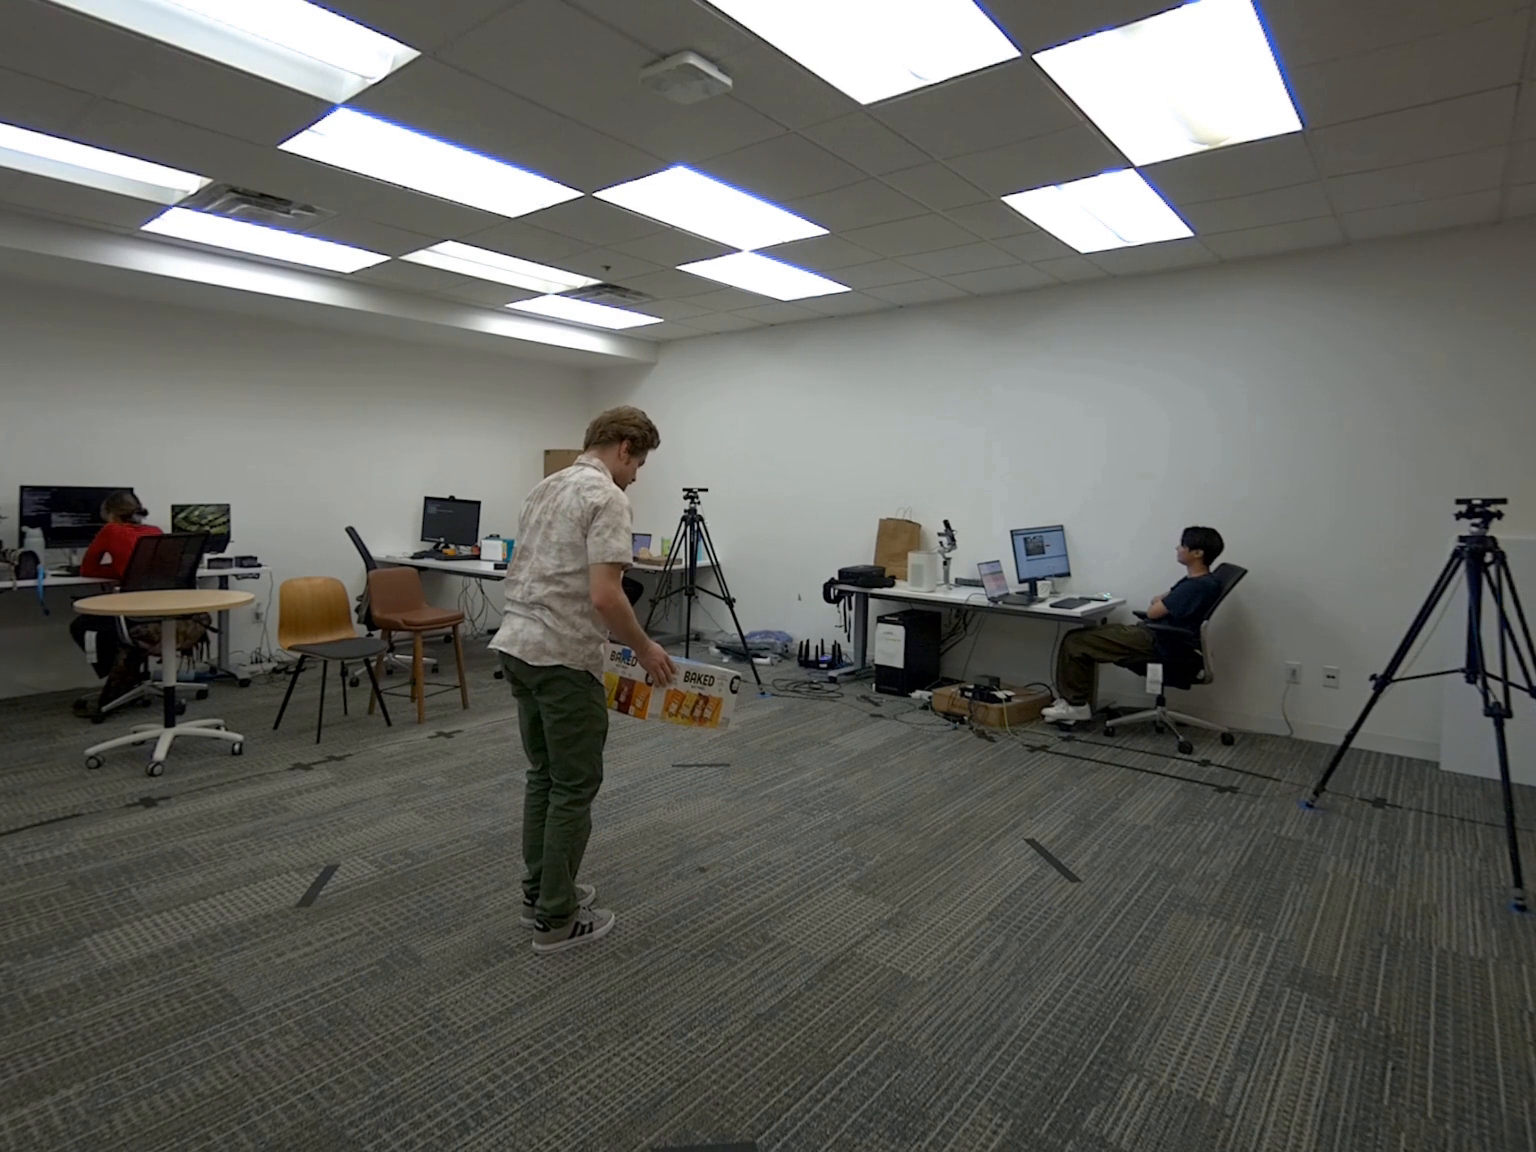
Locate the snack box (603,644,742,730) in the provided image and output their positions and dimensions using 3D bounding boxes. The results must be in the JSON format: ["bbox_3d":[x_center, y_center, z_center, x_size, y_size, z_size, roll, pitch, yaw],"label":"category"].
[{"bbox_3d":[-0.373,0.383,2.936,0.352,0.207,0.389,8,-8,43],"label":"snack box"}]
